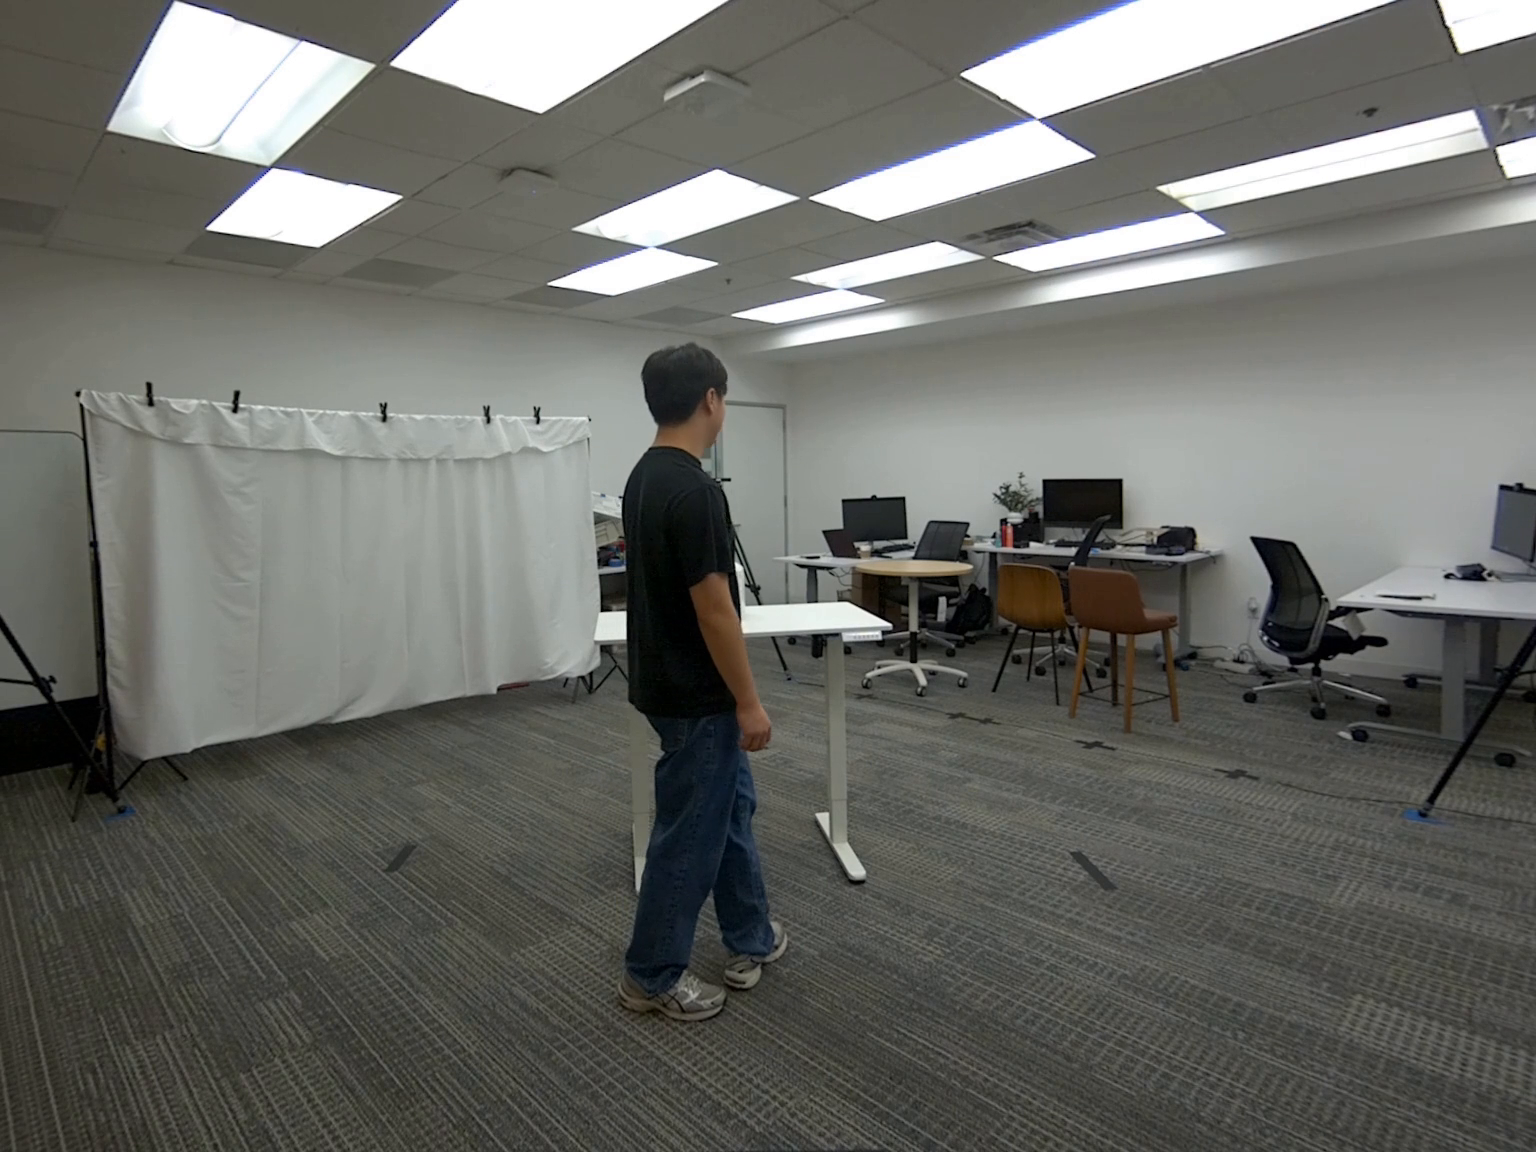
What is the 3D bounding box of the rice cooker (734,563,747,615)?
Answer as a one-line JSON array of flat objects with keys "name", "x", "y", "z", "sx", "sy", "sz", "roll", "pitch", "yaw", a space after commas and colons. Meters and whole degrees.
[{"name": "rice cooker", "x": -0.181, "y": 0.044, "z": 3.122, "sx": 0.227, "sy": 0.232, "sz": 0.212, "roll": 2, "pitch": 7, "yaw": 37}]
